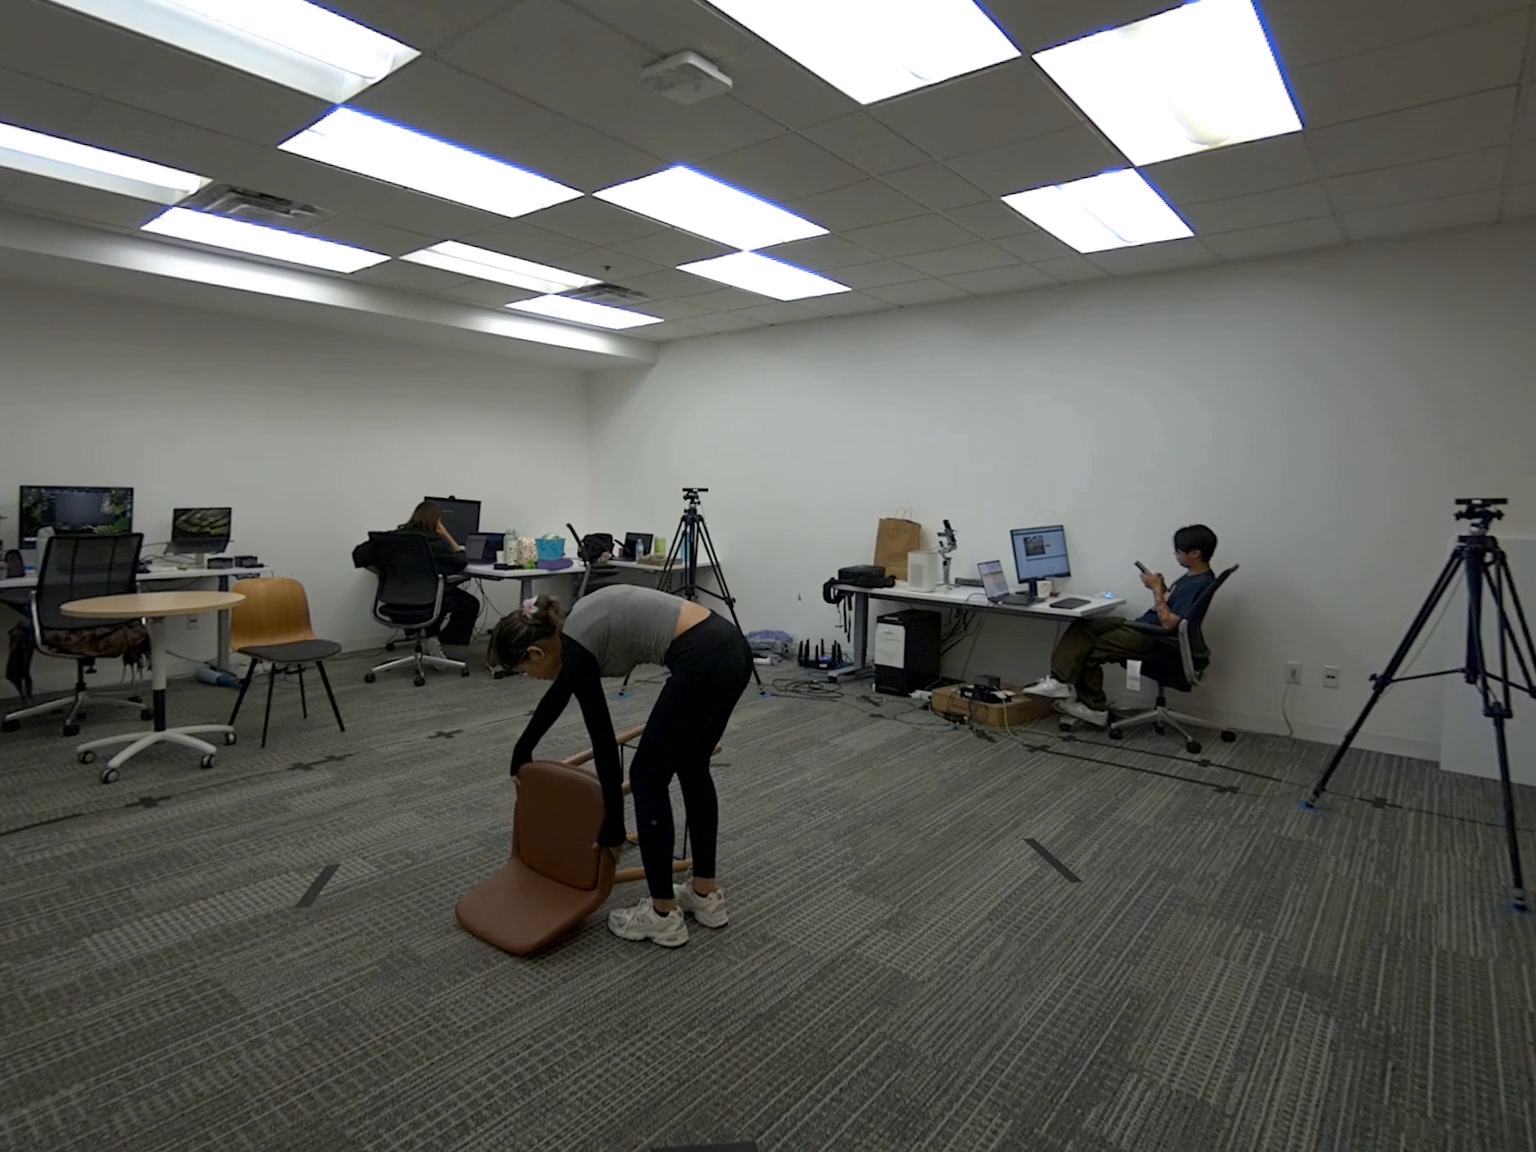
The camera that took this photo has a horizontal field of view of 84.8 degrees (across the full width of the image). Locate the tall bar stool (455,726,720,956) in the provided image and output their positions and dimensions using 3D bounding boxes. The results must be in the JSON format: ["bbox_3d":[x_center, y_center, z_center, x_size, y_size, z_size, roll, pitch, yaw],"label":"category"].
[{"bbox_3d":[-0.605,0.855,2.911,0.471,0.466,0.865,4,6,36],"label":"tall bar stool"}]
